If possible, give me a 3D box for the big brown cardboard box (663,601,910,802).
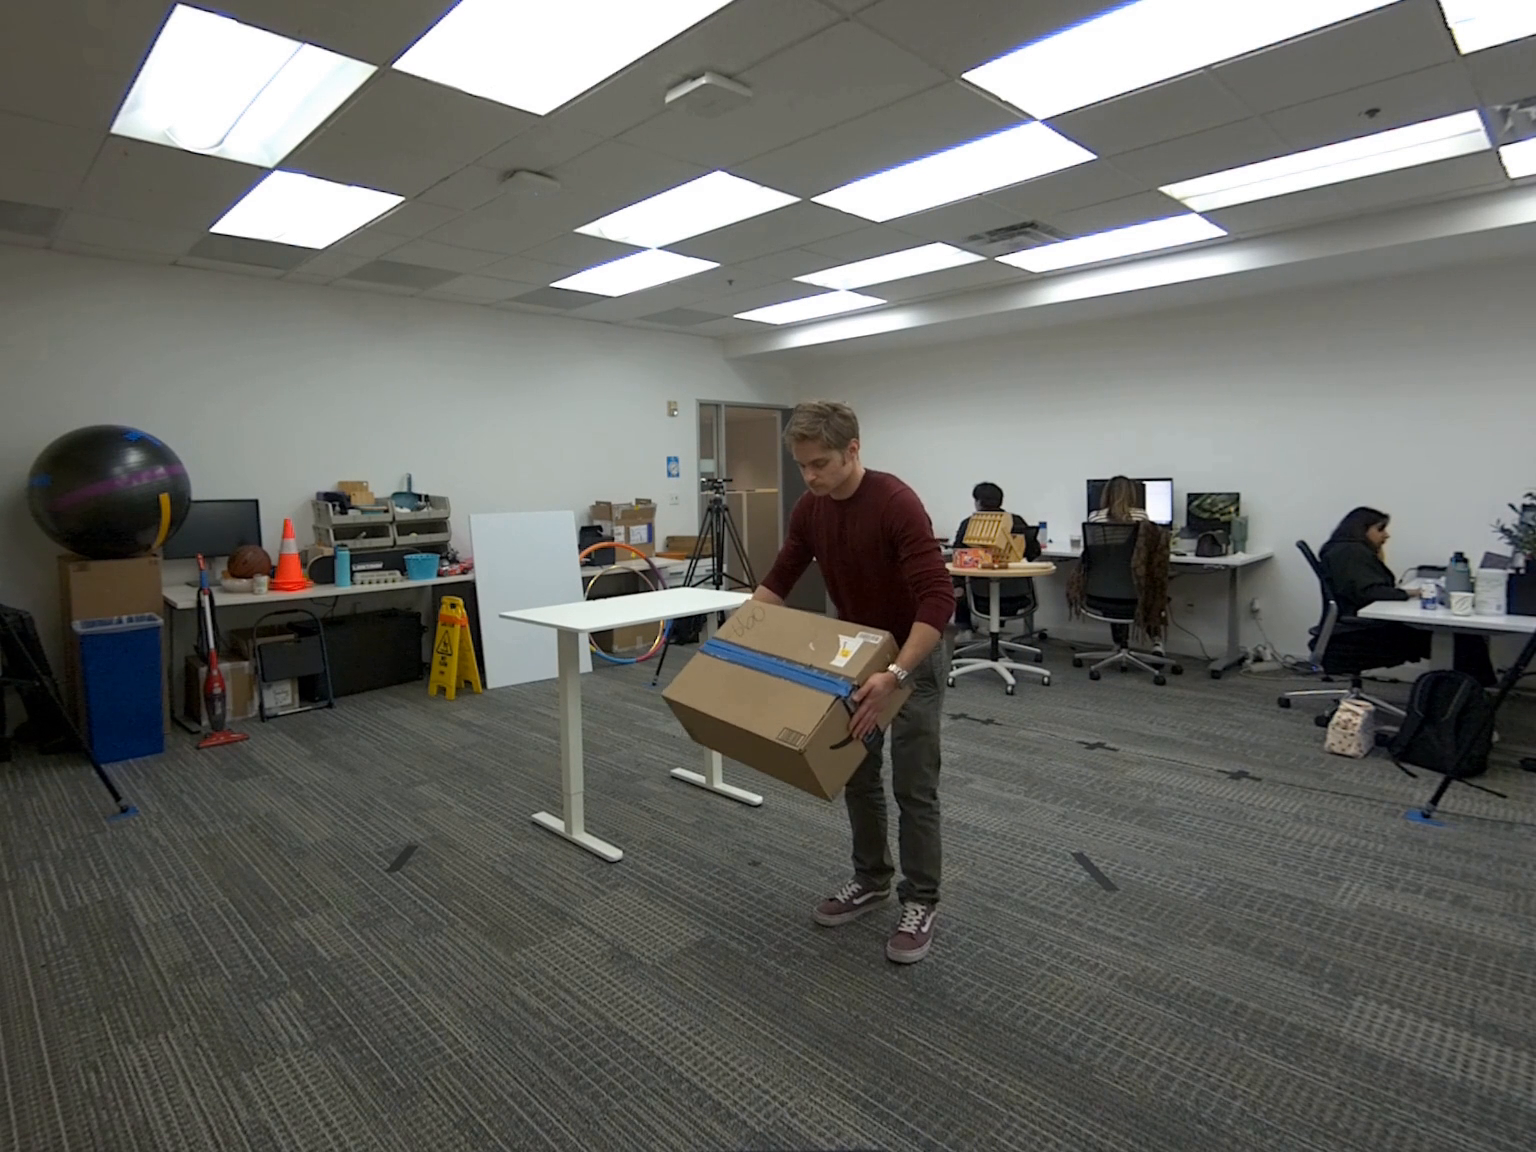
[{"bbox_3d":[0.050,0.326,2.411,0.608,0.226,0.417,10,48,47],"label":"big brown cardboard box"}]
